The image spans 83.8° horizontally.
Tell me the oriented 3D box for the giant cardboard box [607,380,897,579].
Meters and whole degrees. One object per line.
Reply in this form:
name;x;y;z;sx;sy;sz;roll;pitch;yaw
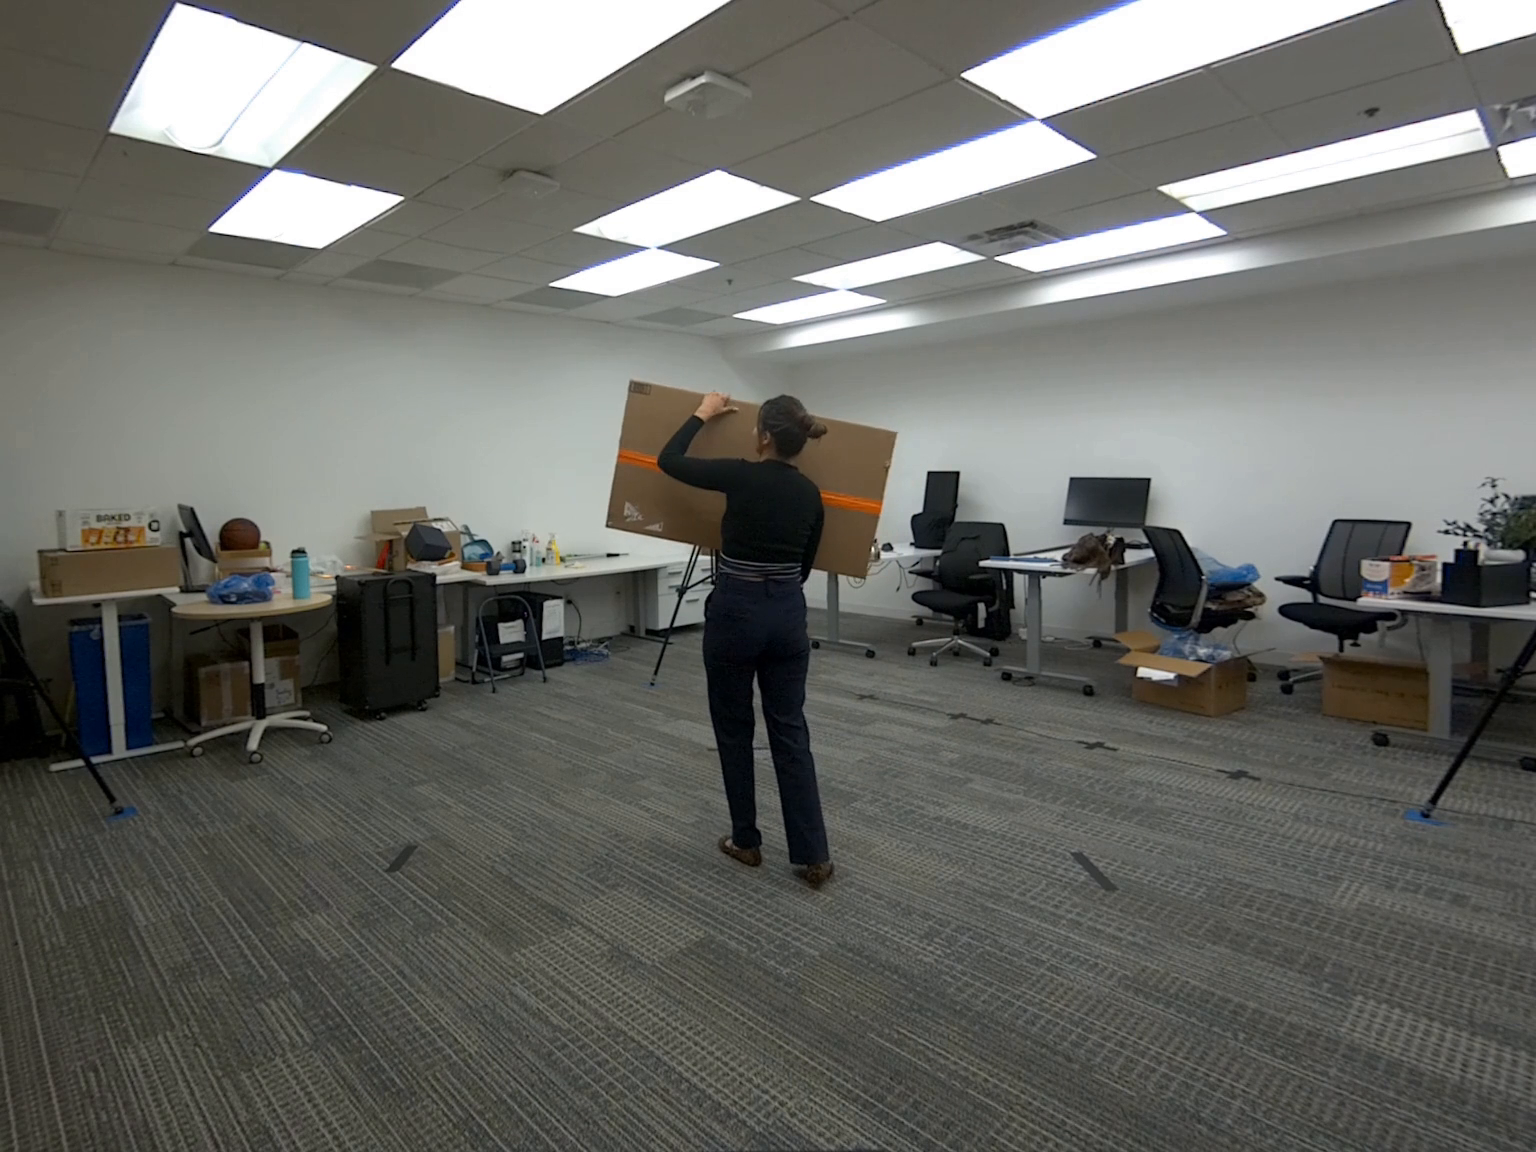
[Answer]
giant cardboard box;-0.077;-0.402;3.430;1.028;0.574;0.428;11;9;2
